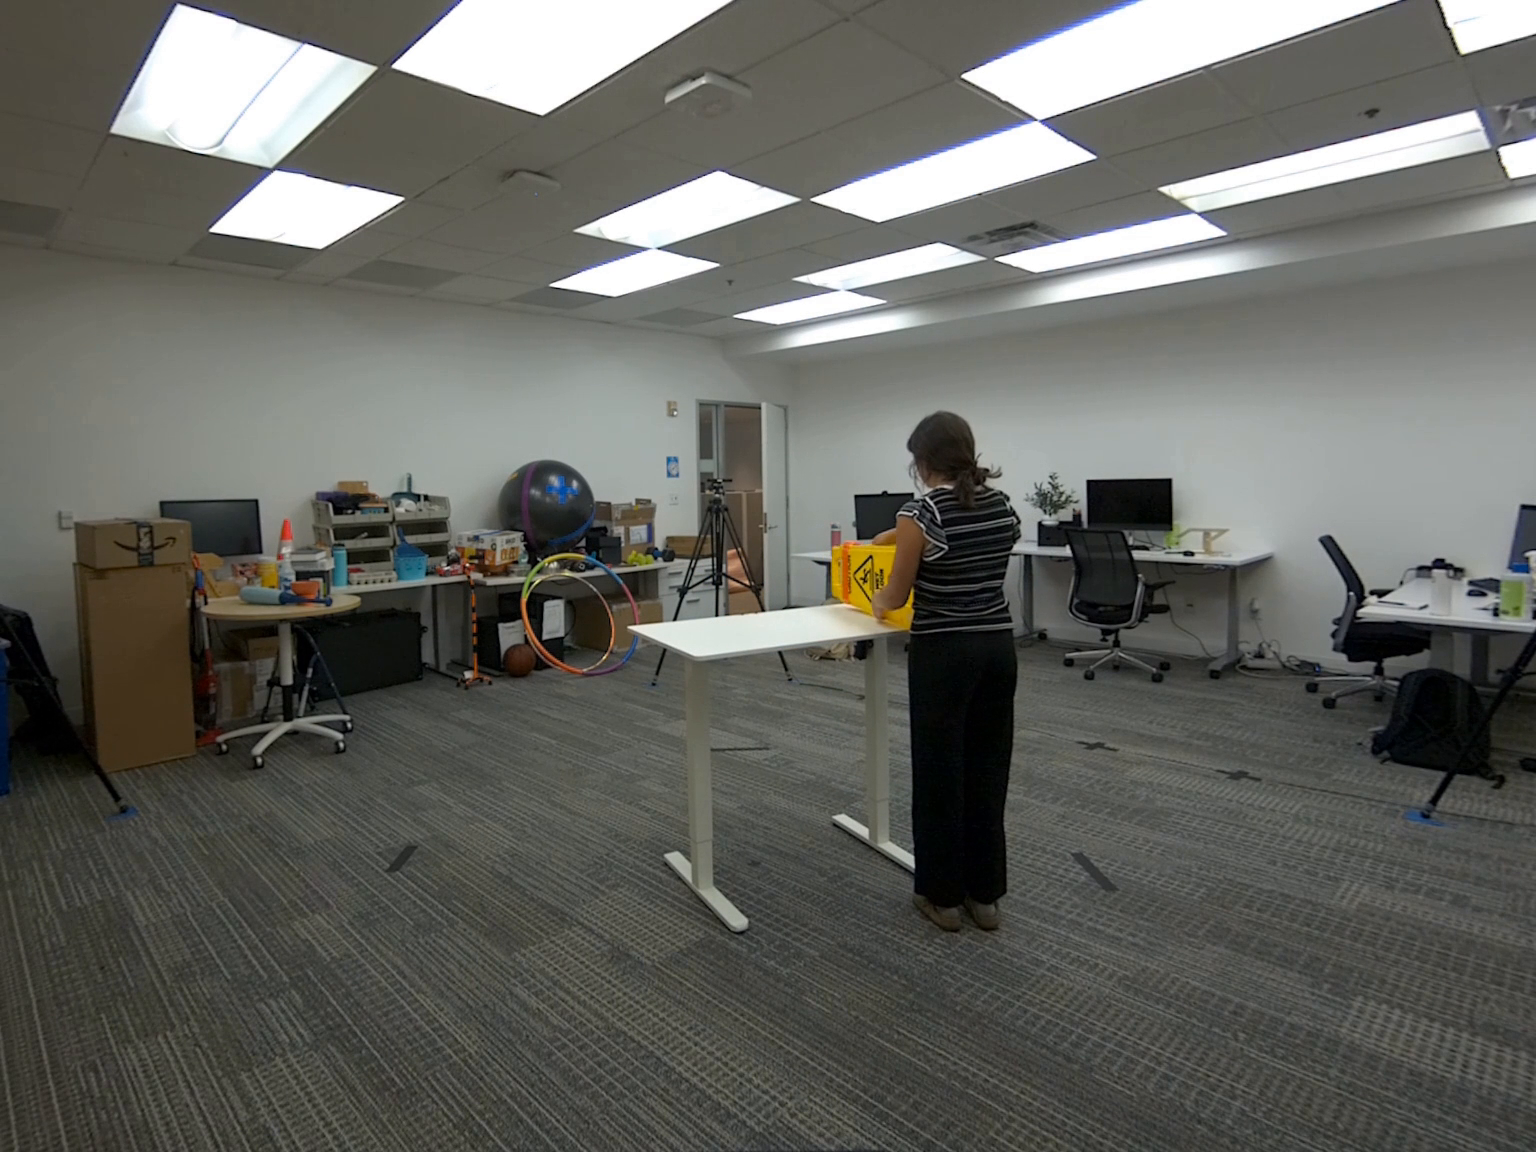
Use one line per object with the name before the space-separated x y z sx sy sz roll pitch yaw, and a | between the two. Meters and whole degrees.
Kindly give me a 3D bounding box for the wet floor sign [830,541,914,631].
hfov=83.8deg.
wet floor sign | 0.424 0.007 3.149 0.283 0.281 0.664 -2 6 -30
